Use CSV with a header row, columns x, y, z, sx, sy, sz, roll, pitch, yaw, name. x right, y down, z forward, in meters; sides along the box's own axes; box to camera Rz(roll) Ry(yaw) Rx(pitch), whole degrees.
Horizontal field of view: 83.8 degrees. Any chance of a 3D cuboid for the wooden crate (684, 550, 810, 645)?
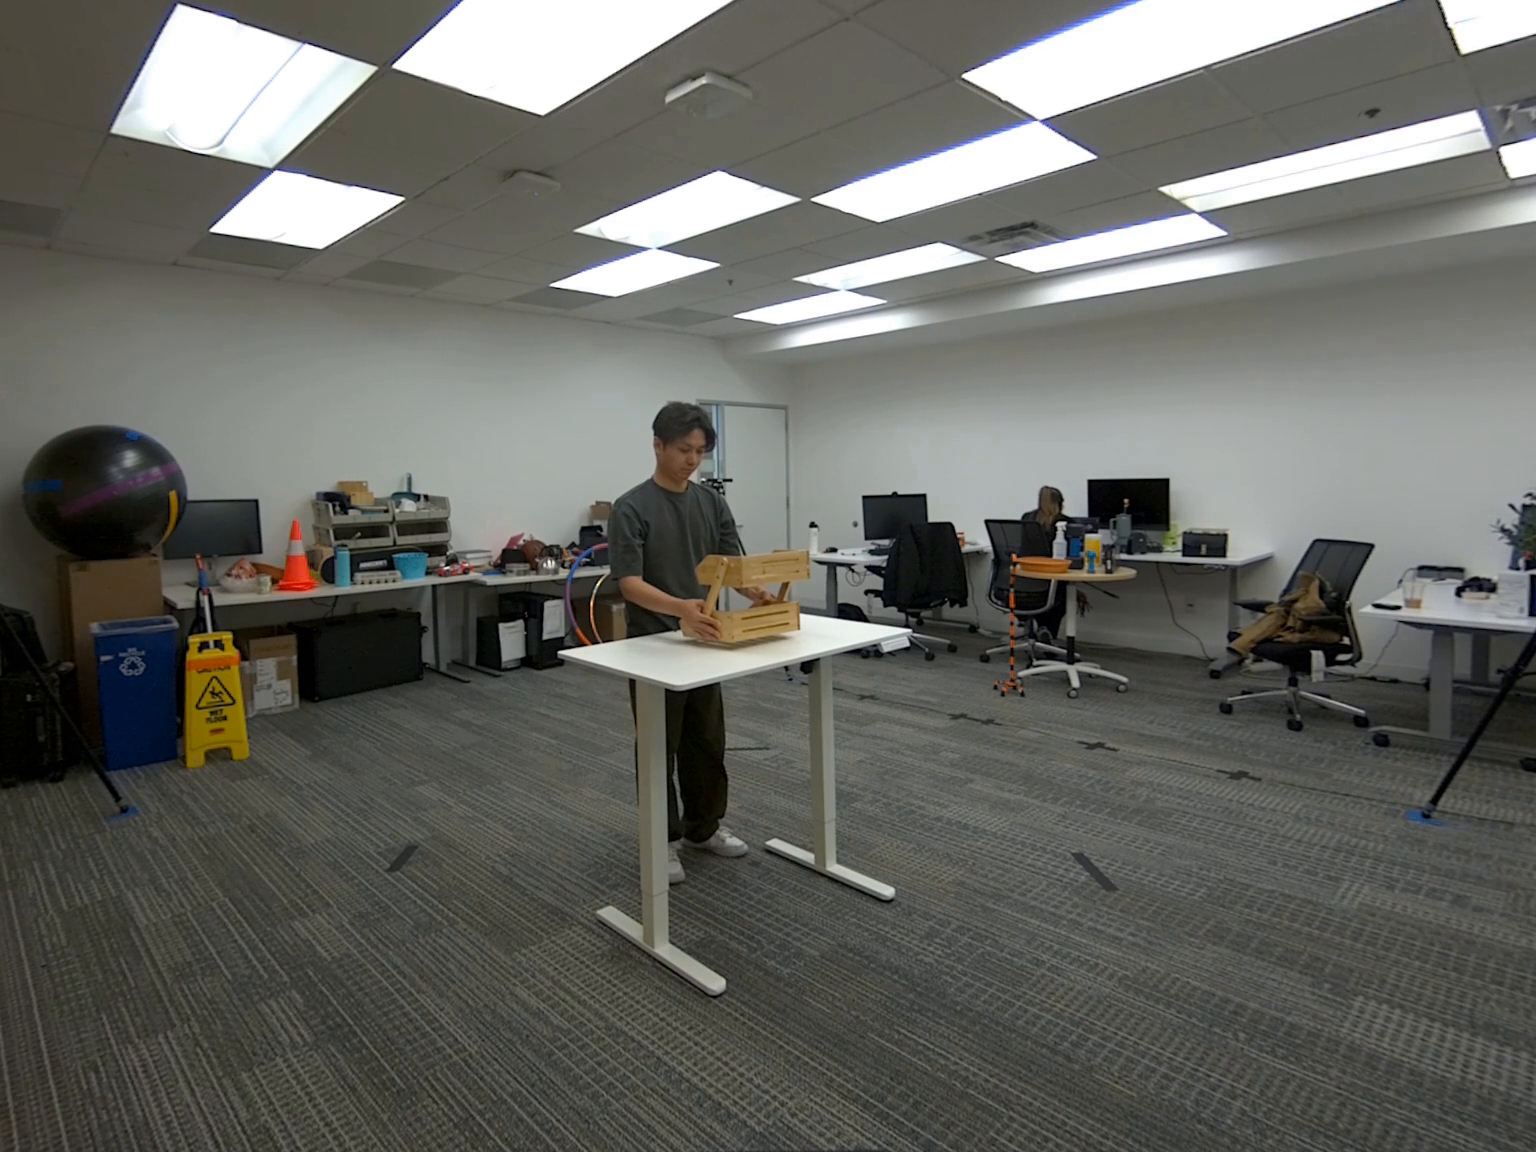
x,y,z,sx,sy,sz,roll,pitch,yaw,name
-0.078,0.054,2.726,0.316,0.272,0.311,-6,5,-43,wooden crate
